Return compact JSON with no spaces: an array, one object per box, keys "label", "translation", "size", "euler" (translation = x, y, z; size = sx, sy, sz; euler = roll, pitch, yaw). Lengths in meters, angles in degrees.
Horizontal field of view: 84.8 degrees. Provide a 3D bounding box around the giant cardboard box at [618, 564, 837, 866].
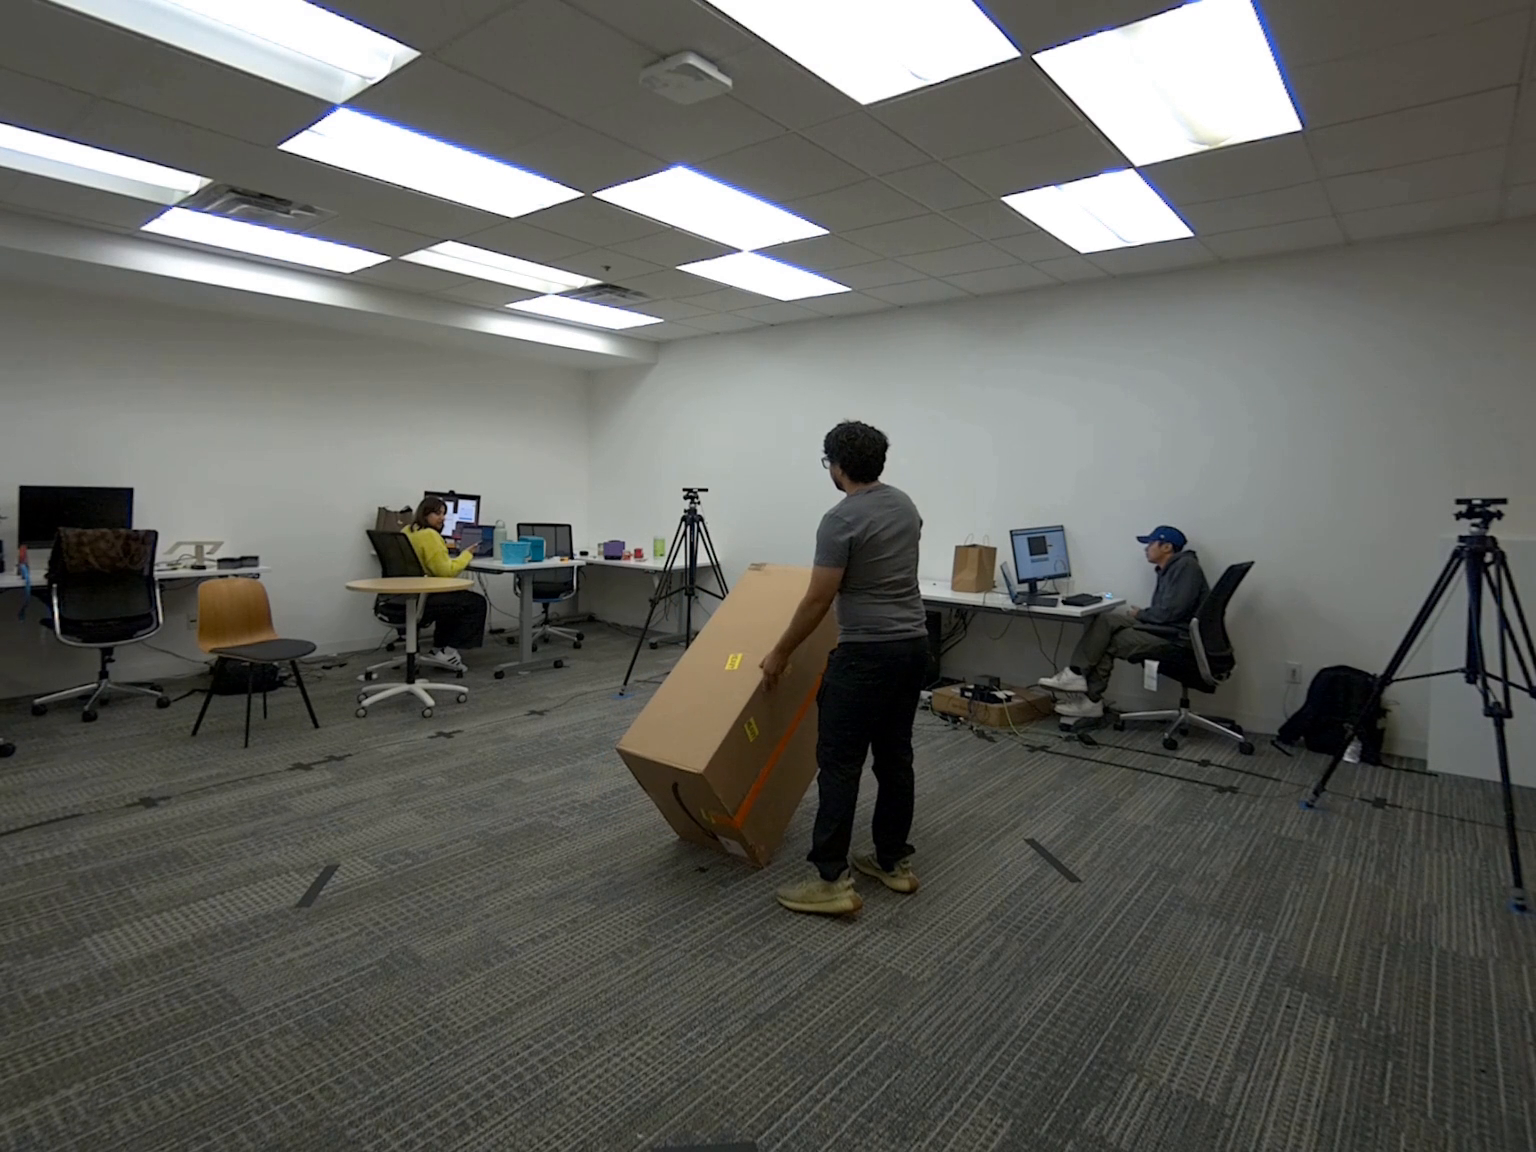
[{"label":"giant cardboard box","translation":[-0.056,0.510,3.396],"size":[0.440,0.557,1.029],"euler":[4,45,37]}]
